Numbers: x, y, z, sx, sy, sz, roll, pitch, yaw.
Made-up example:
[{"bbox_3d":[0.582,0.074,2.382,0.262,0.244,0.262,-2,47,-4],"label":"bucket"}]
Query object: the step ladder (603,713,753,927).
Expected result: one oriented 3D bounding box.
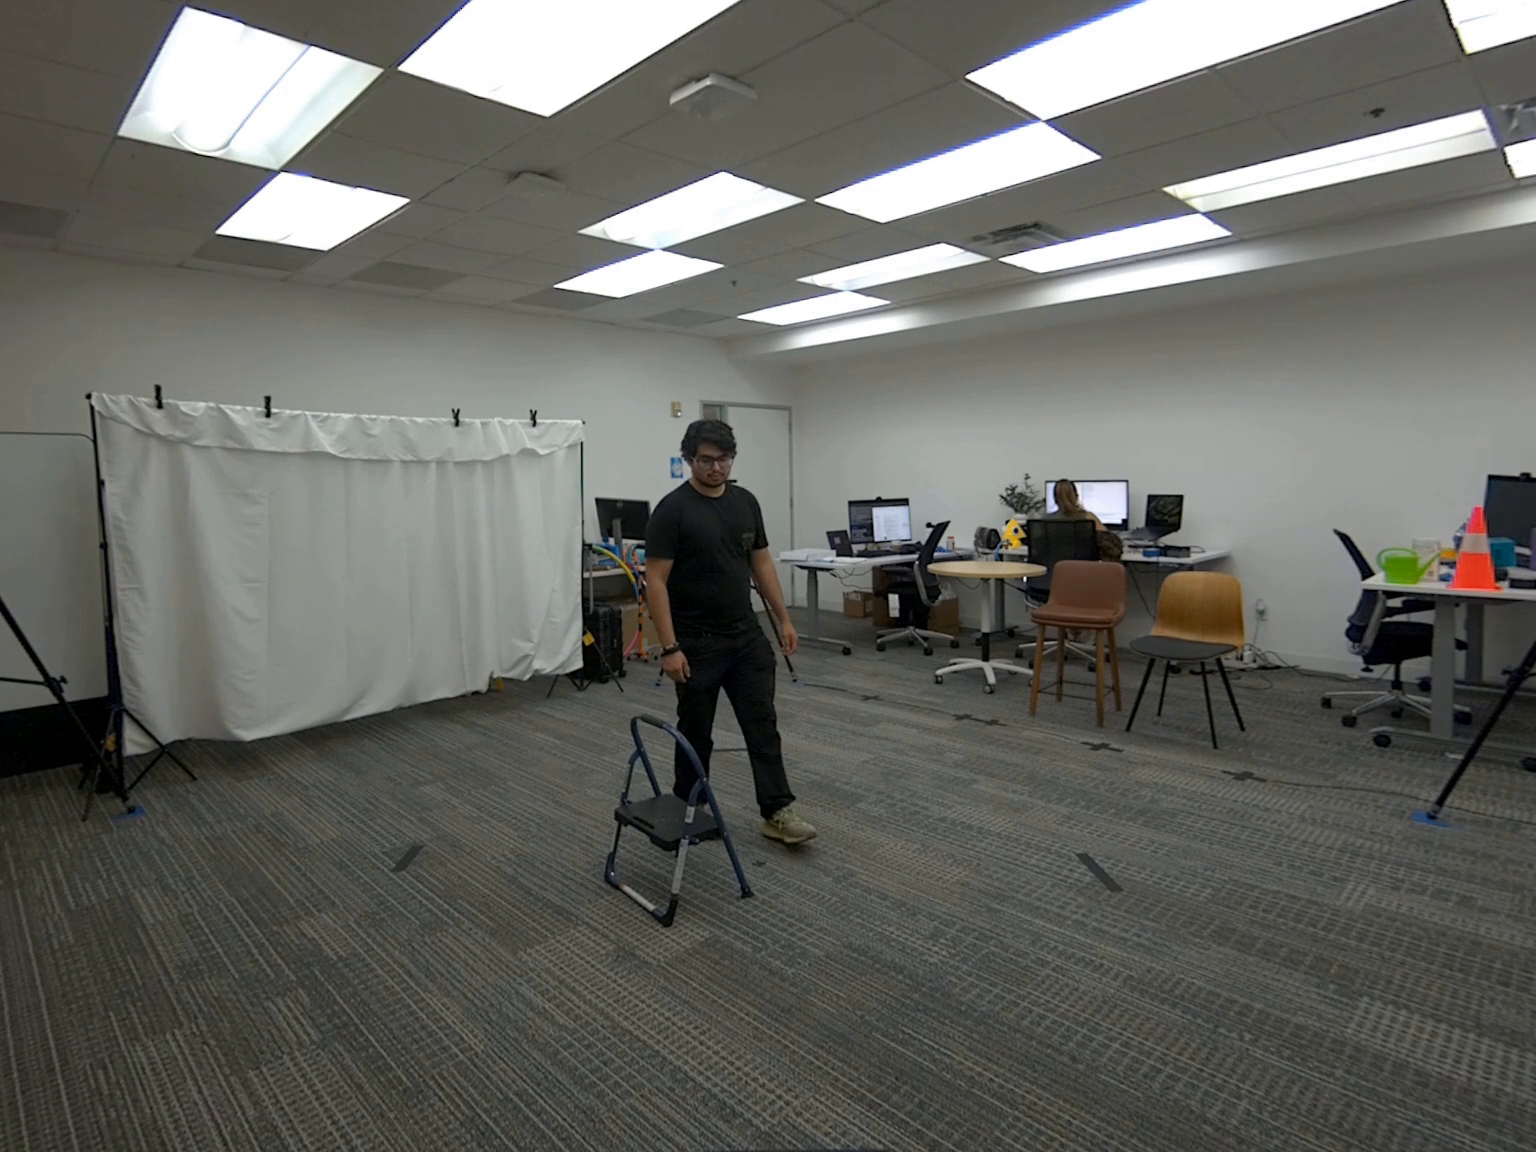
[{"bbox_3d":[-0.320,0.773,2.917,0.340,0.603,0.444,-4,6,-38],"label":"step ladder"}]
